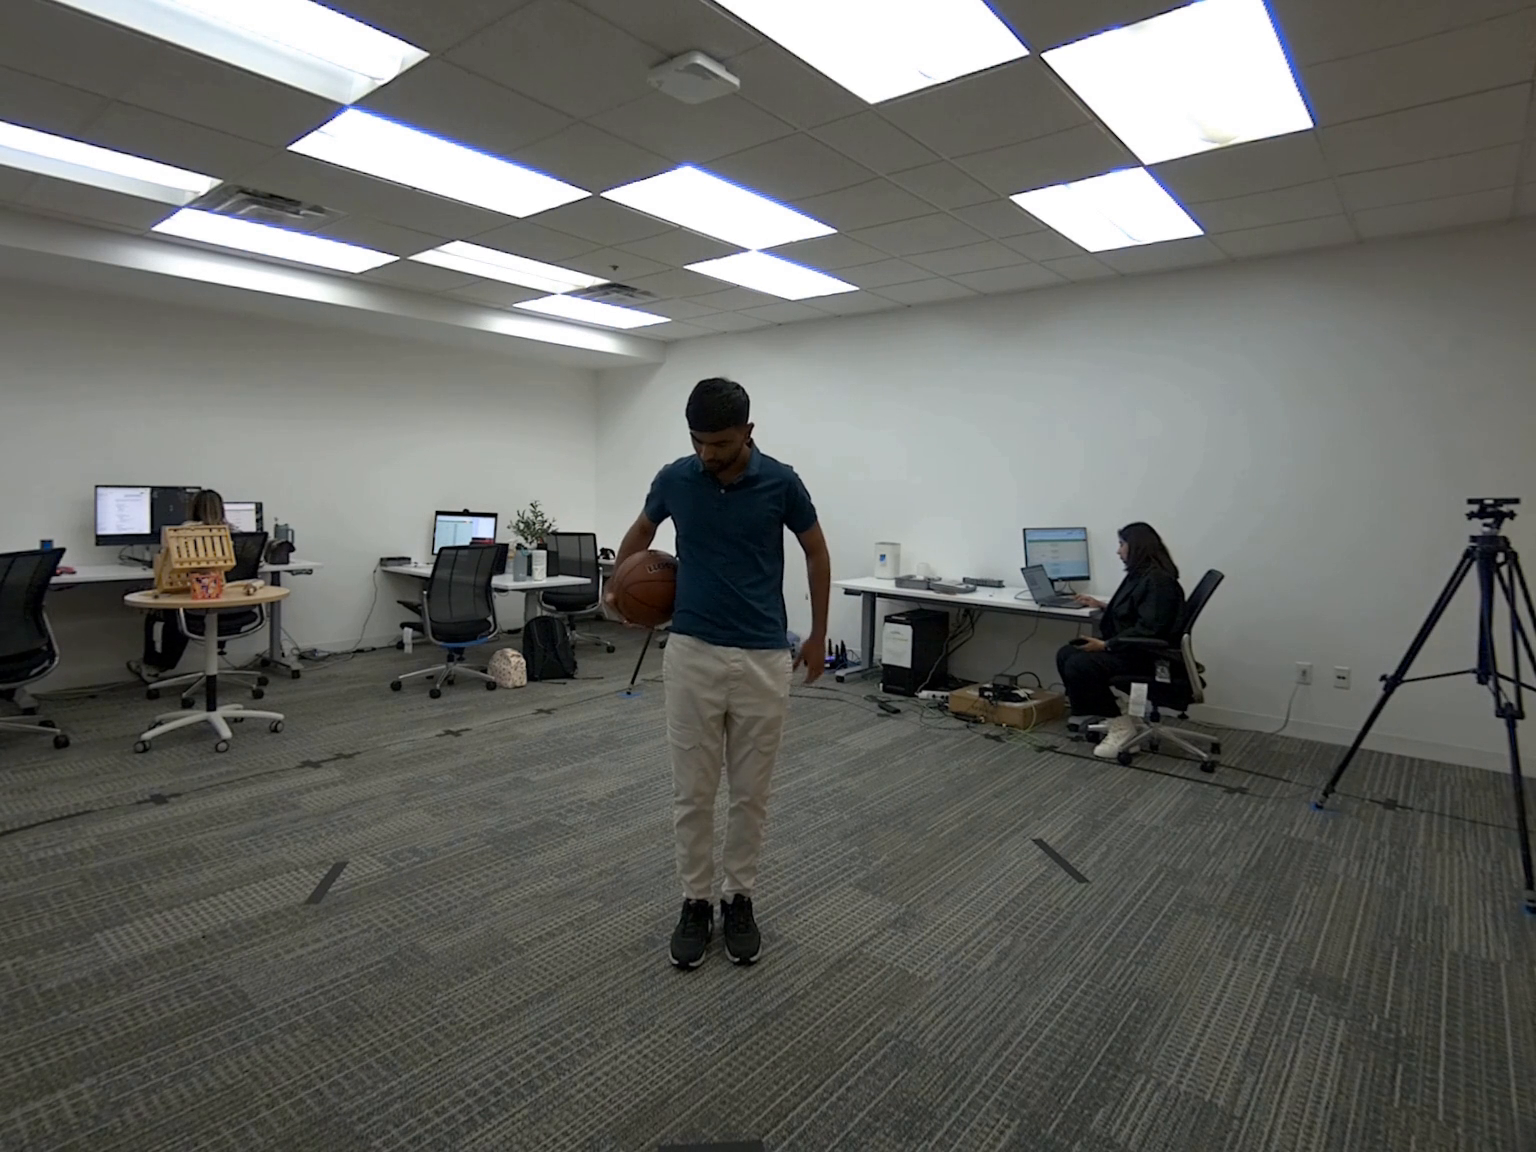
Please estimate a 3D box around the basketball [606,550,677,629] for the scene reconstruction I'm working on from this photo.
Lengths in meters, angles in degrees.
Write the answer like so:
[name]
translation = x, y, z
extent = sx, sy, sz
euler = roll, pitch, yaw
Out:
[basketball]
translation = -0.379, 0.032, 2.666
extent = 0.235, 0.235, 0.237
euler = 1, 4, -2
